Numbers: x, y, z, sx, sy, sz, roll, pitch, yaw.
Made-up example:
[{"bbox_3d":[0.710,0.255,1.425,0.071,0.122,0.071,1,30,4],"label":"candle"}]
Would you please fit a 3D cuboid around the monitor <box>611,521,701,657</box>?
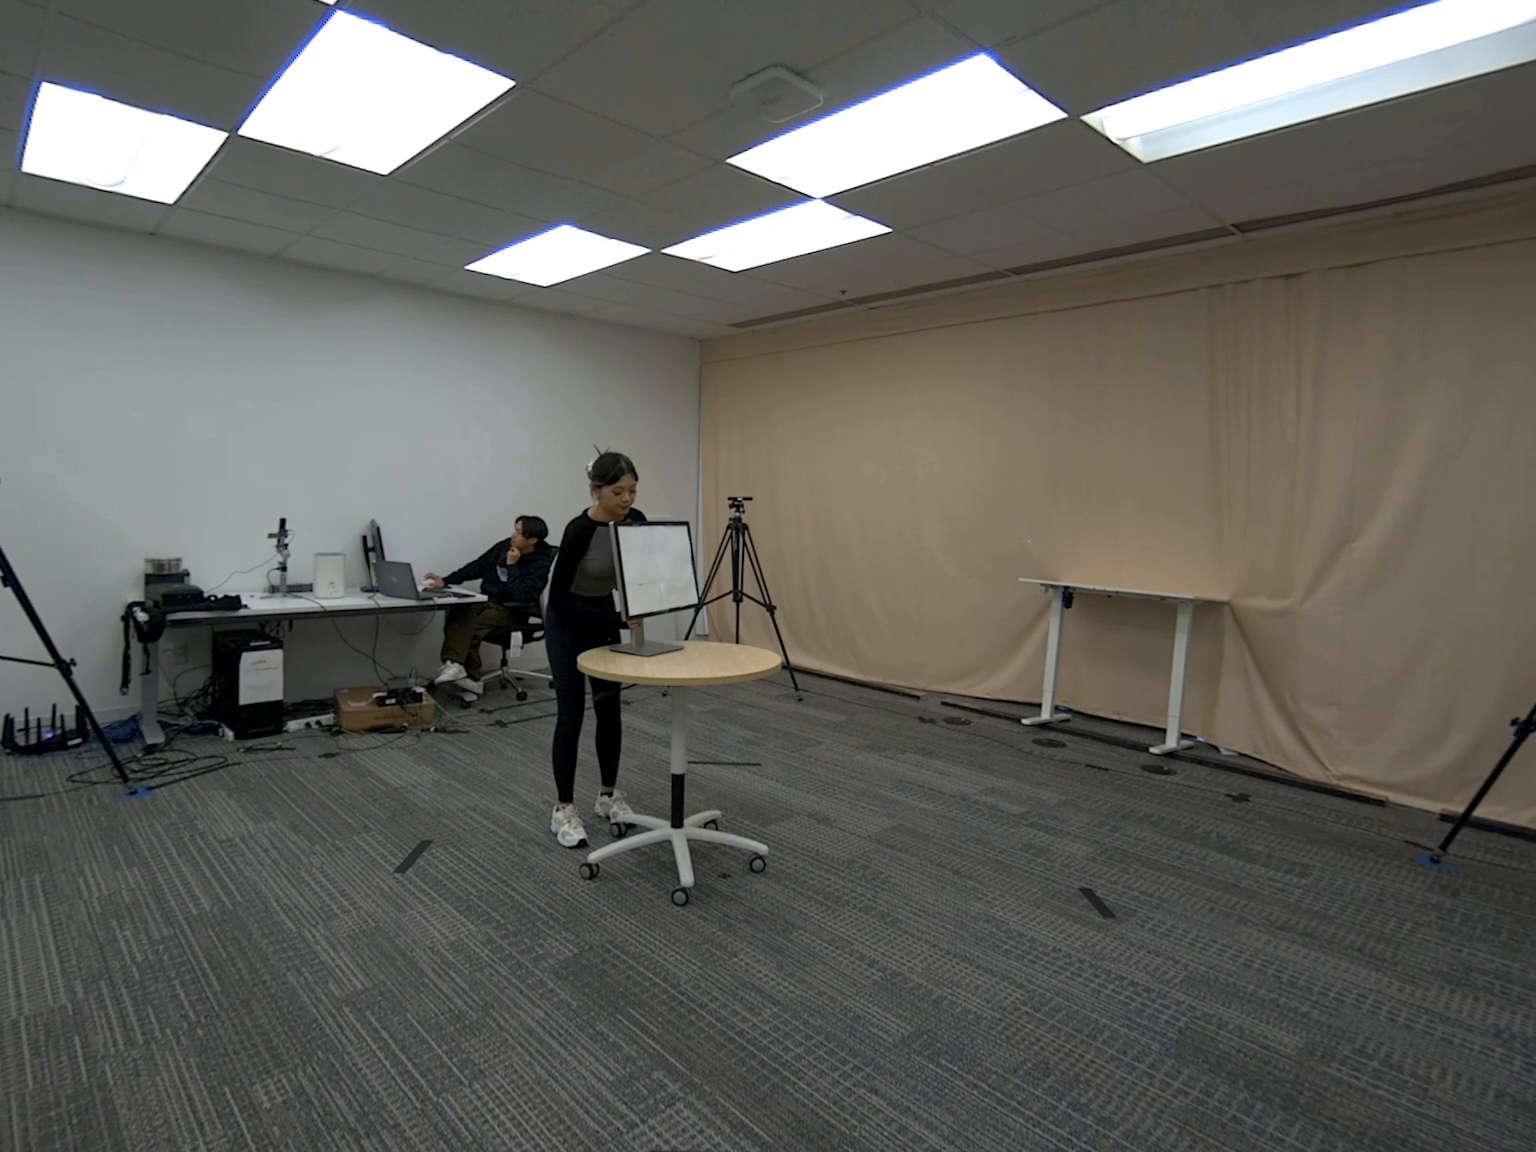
[{"bbox_3d":[-0.479,0.048,3.309,0.191,0.521,0.530,5,5,24],"label":"monitor"}]
